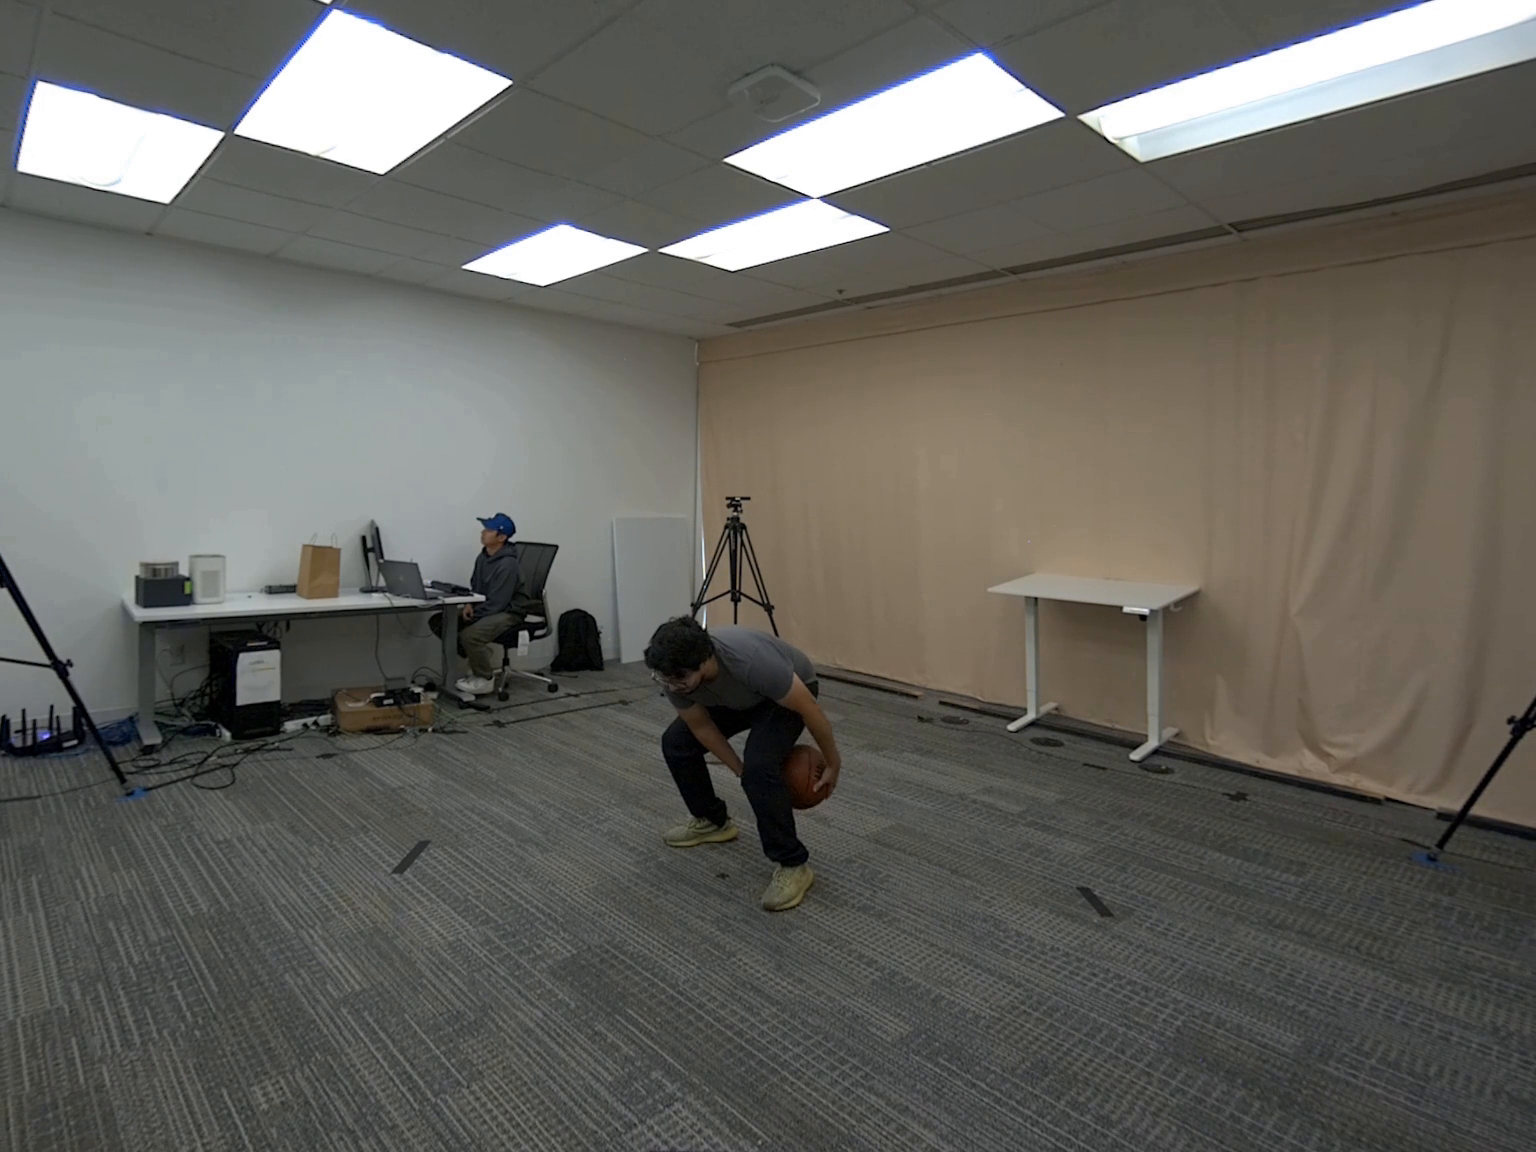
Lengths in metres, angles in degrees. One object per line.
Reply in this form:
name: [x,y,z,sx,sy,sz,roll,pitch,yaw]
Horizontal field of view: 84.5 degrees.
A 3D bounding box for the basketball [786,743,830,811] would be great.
basketball: [0.119,0.752,3.159,0.236,0.235,0.237,1,4,-1]
